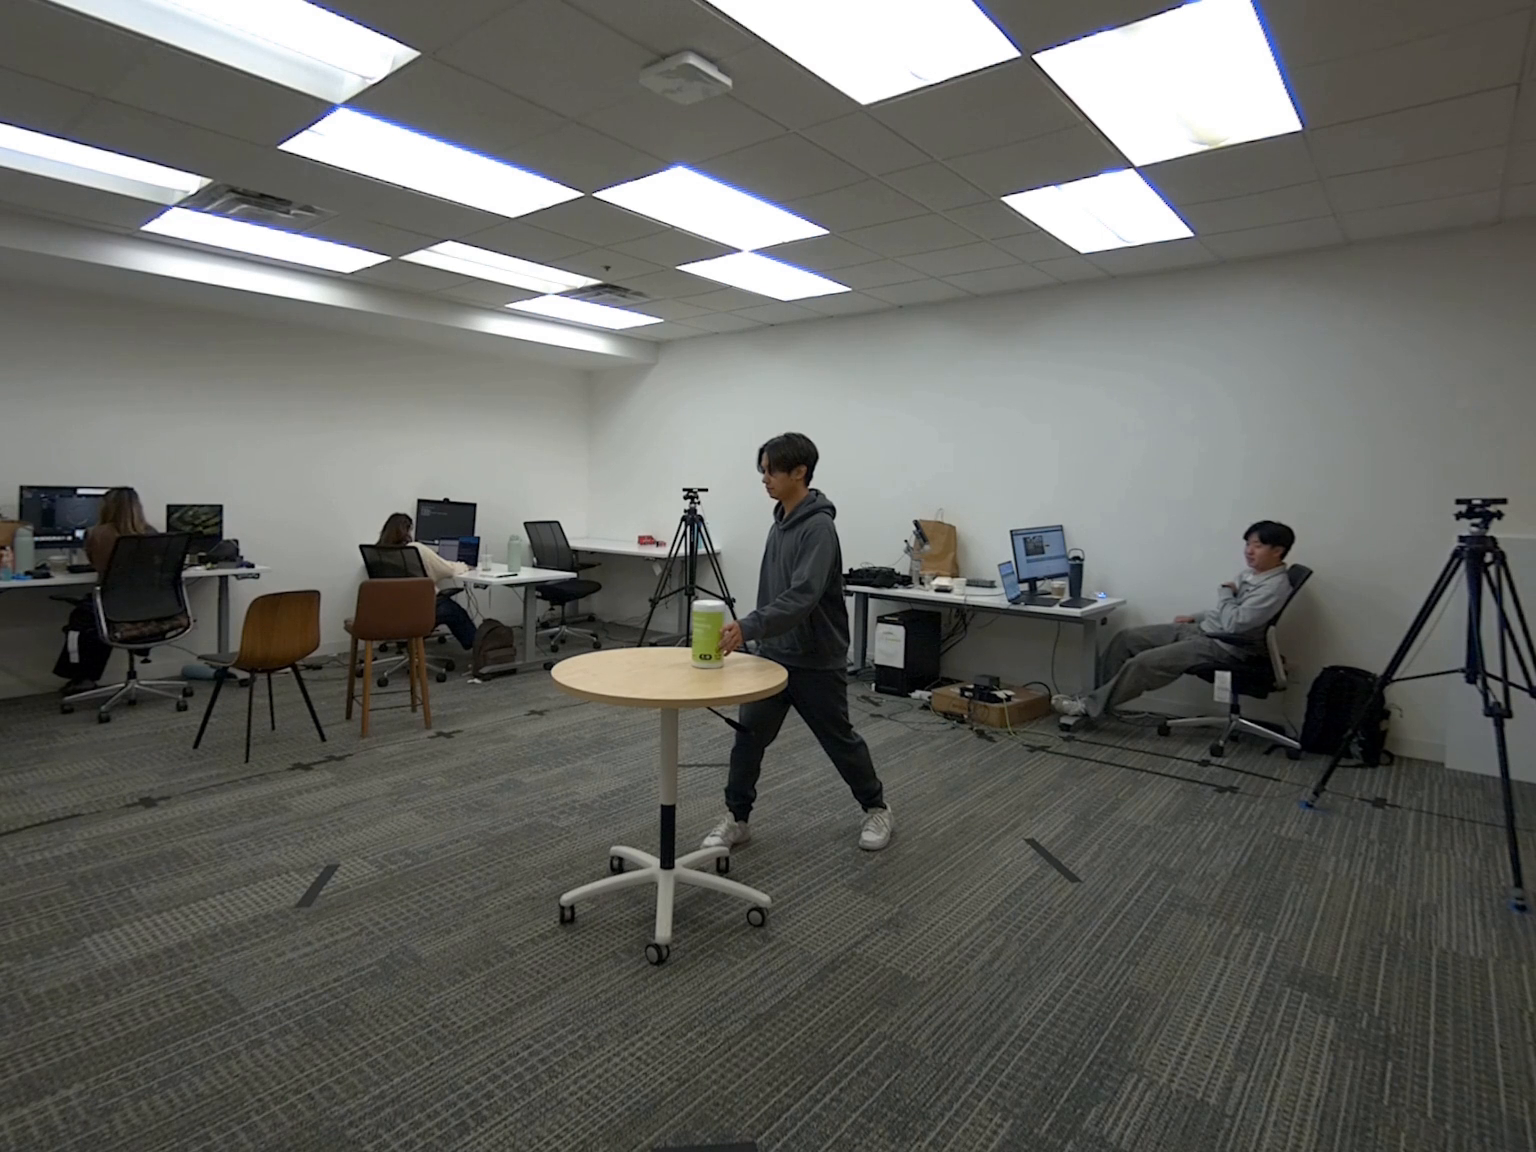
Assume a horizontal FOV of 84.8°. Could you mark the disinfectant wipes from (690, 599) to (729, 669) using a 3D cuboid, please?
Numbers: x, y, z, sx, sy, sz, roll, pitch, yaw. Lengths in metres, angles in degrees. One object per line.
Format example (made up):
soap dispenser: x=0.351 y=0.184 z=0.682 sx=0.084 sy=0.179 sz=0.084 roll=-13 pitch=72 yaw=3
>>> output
disinfectant wipes: x=-0.208 y=0.194 z=2.840 sx=0.118 sy=0.216 sz=0.118 roll=0 pitch=5 yaw=-2
